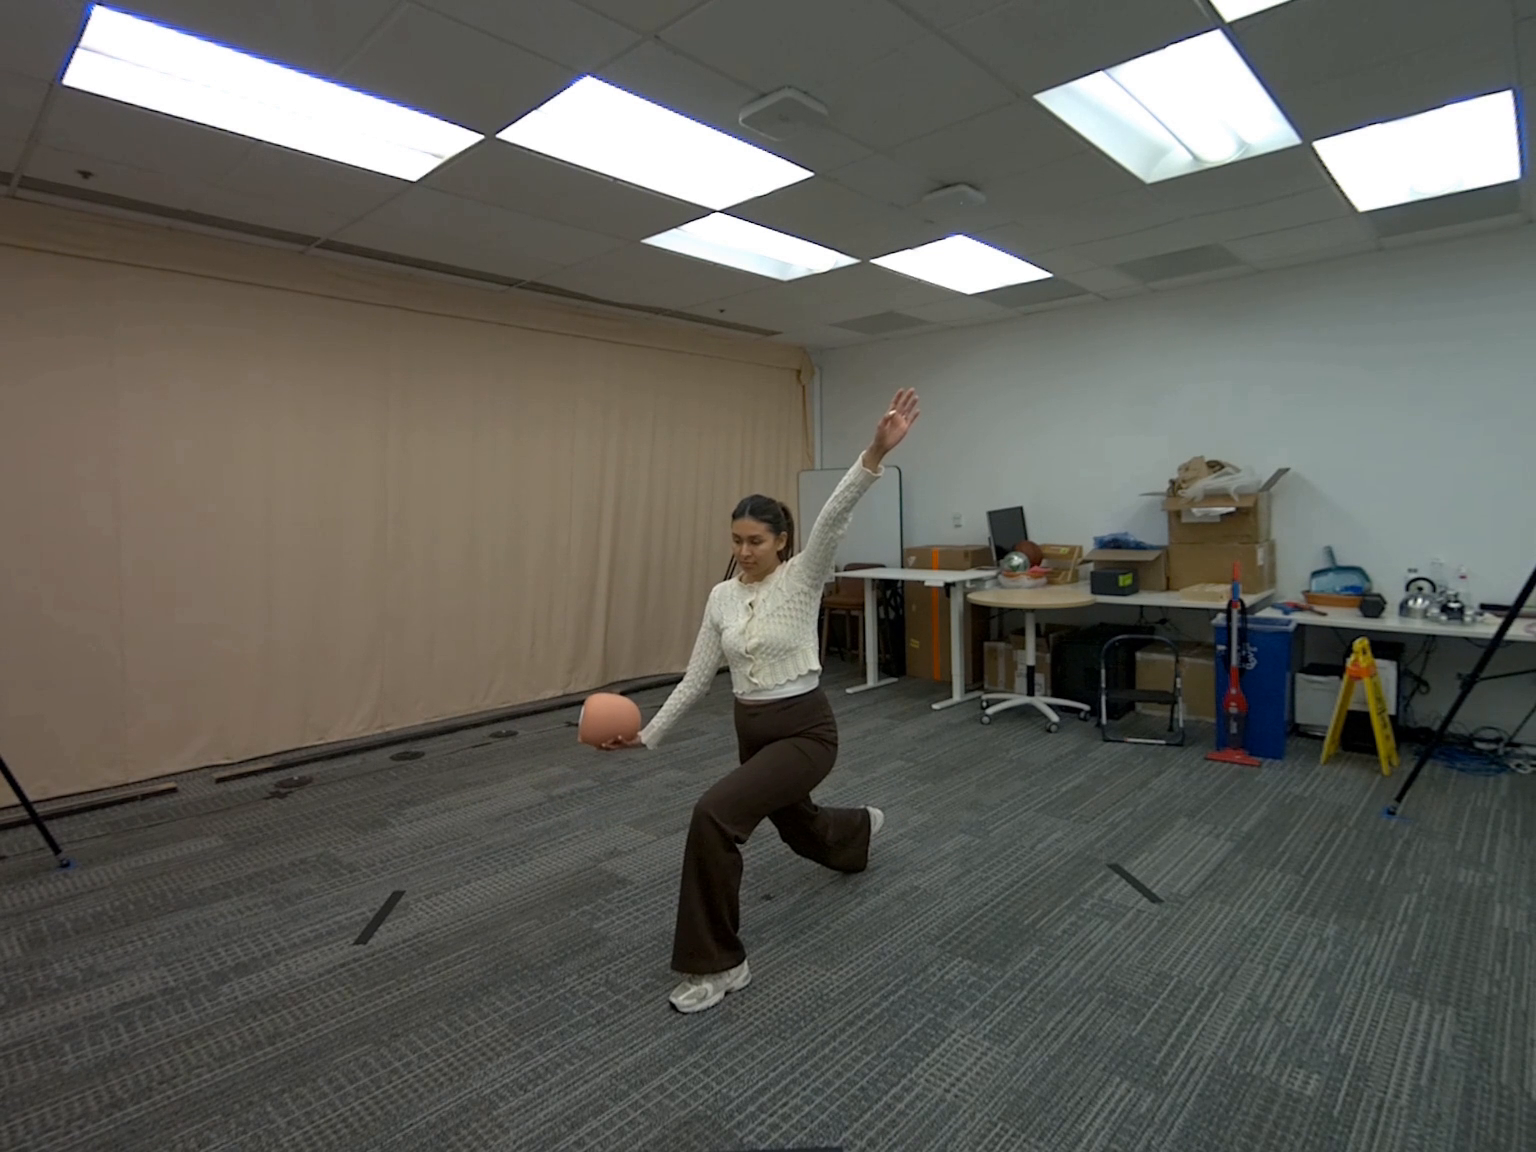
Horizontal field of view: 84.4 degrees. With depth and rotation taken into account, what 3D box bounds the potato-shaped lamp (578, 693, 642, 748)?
[{"bbox_3d":[-0.511,0.478,2.758,0.195,0.171,0.167,13,11,-12],"label":"potato-shaped lamp"}]
